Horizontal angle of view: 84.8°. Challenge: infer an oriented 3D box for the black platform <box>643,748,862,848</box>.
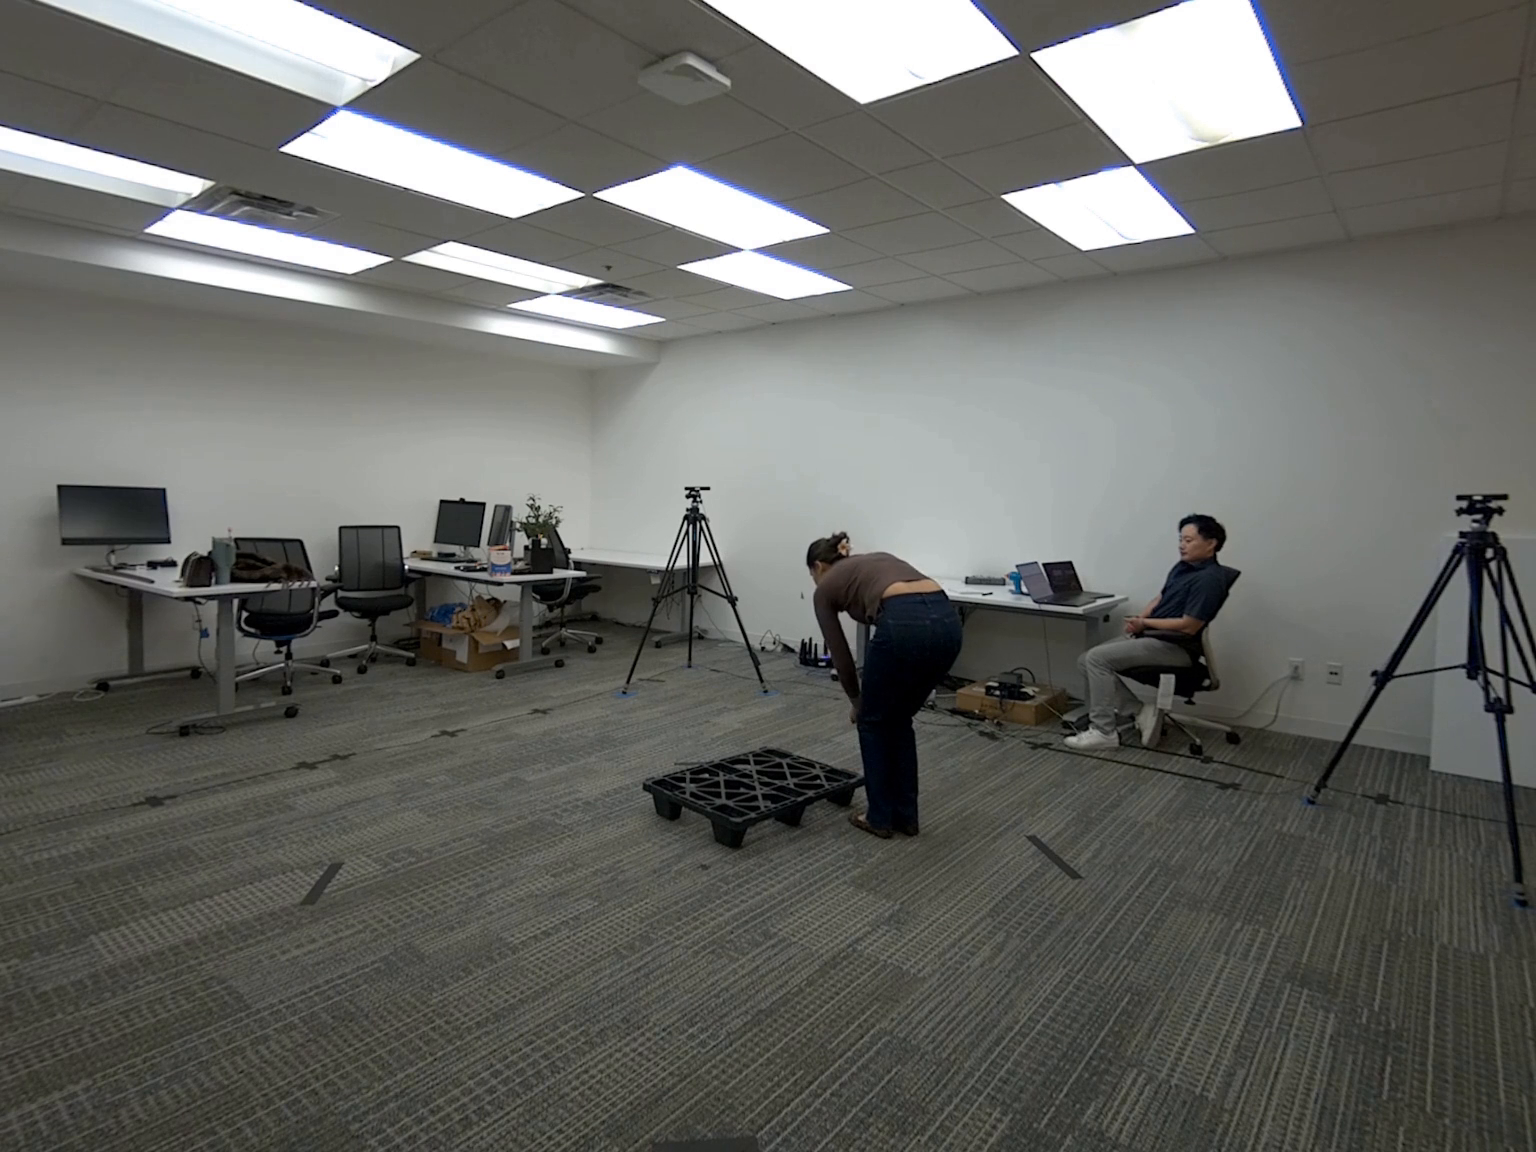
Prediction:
[{"bbox_3d":[-0.058,0.942,3.691,0.782,0.142,0.626,-5,9,-44],"label":"black platform"}]
